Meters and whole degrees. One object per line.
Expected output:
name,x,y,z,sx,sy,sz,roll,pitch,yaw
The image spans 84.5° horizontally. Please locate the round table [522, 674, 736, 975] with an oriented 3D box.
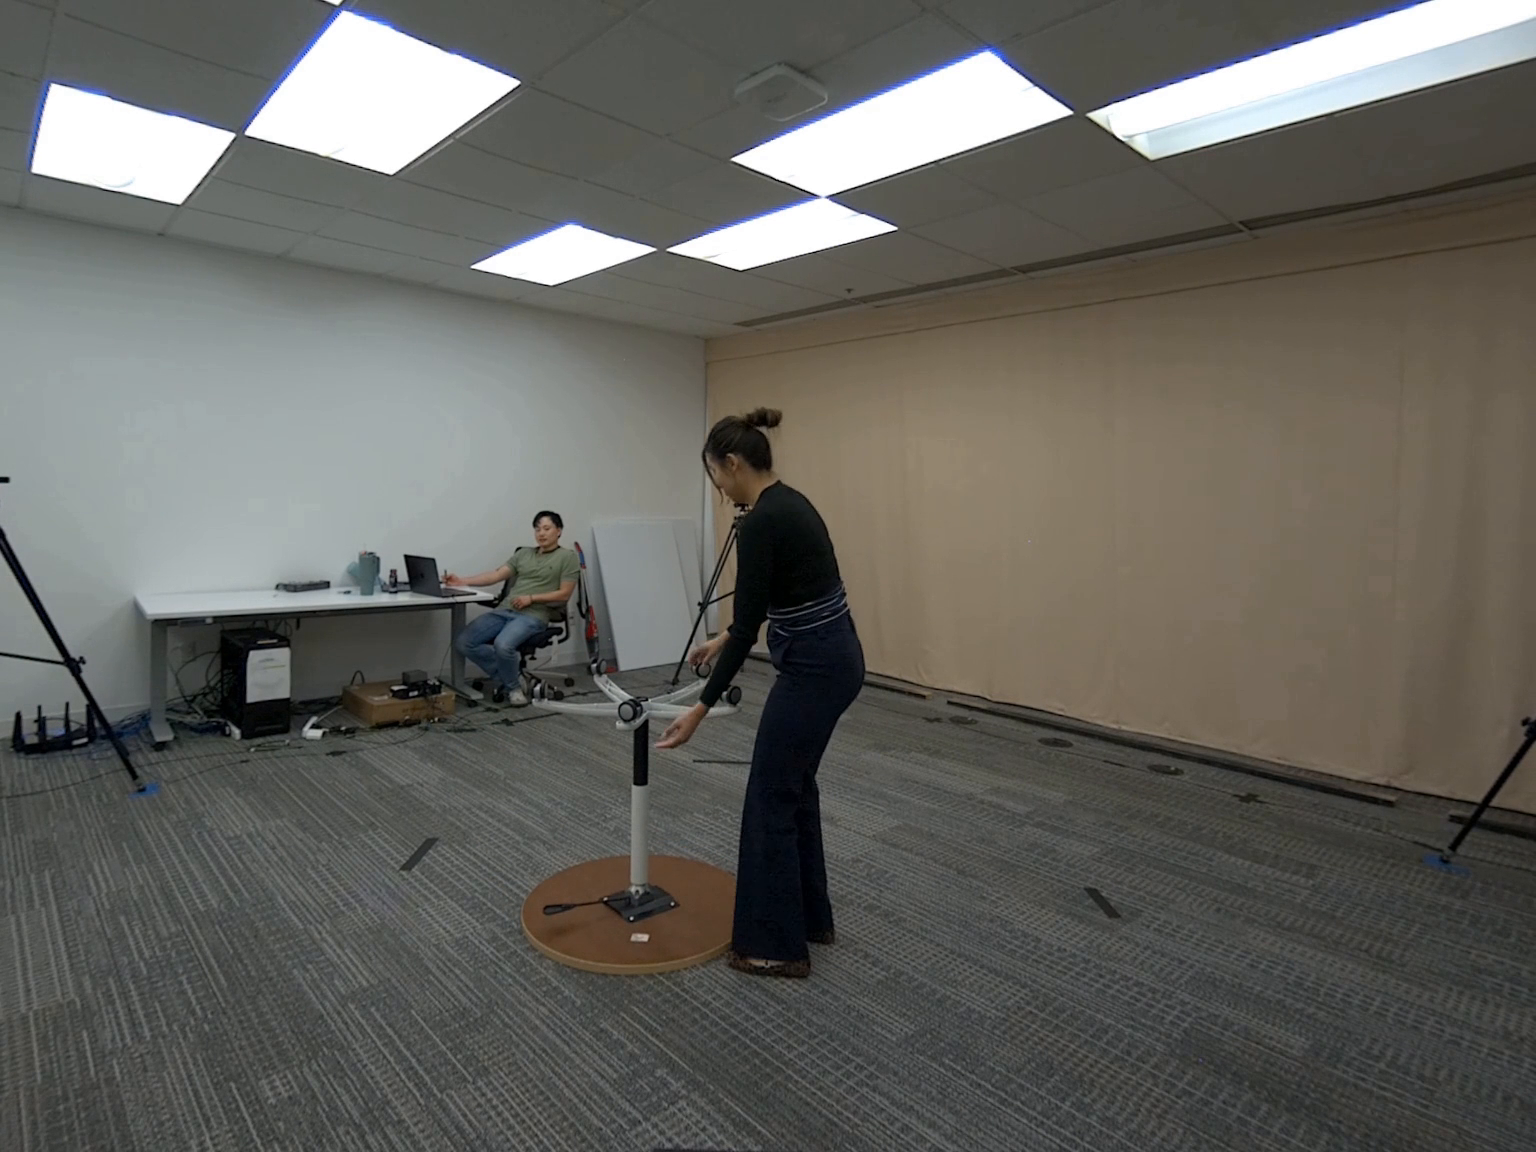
round table,-0.431,0.732,2.802,0.763,0.791,0.767,1,5,-1
